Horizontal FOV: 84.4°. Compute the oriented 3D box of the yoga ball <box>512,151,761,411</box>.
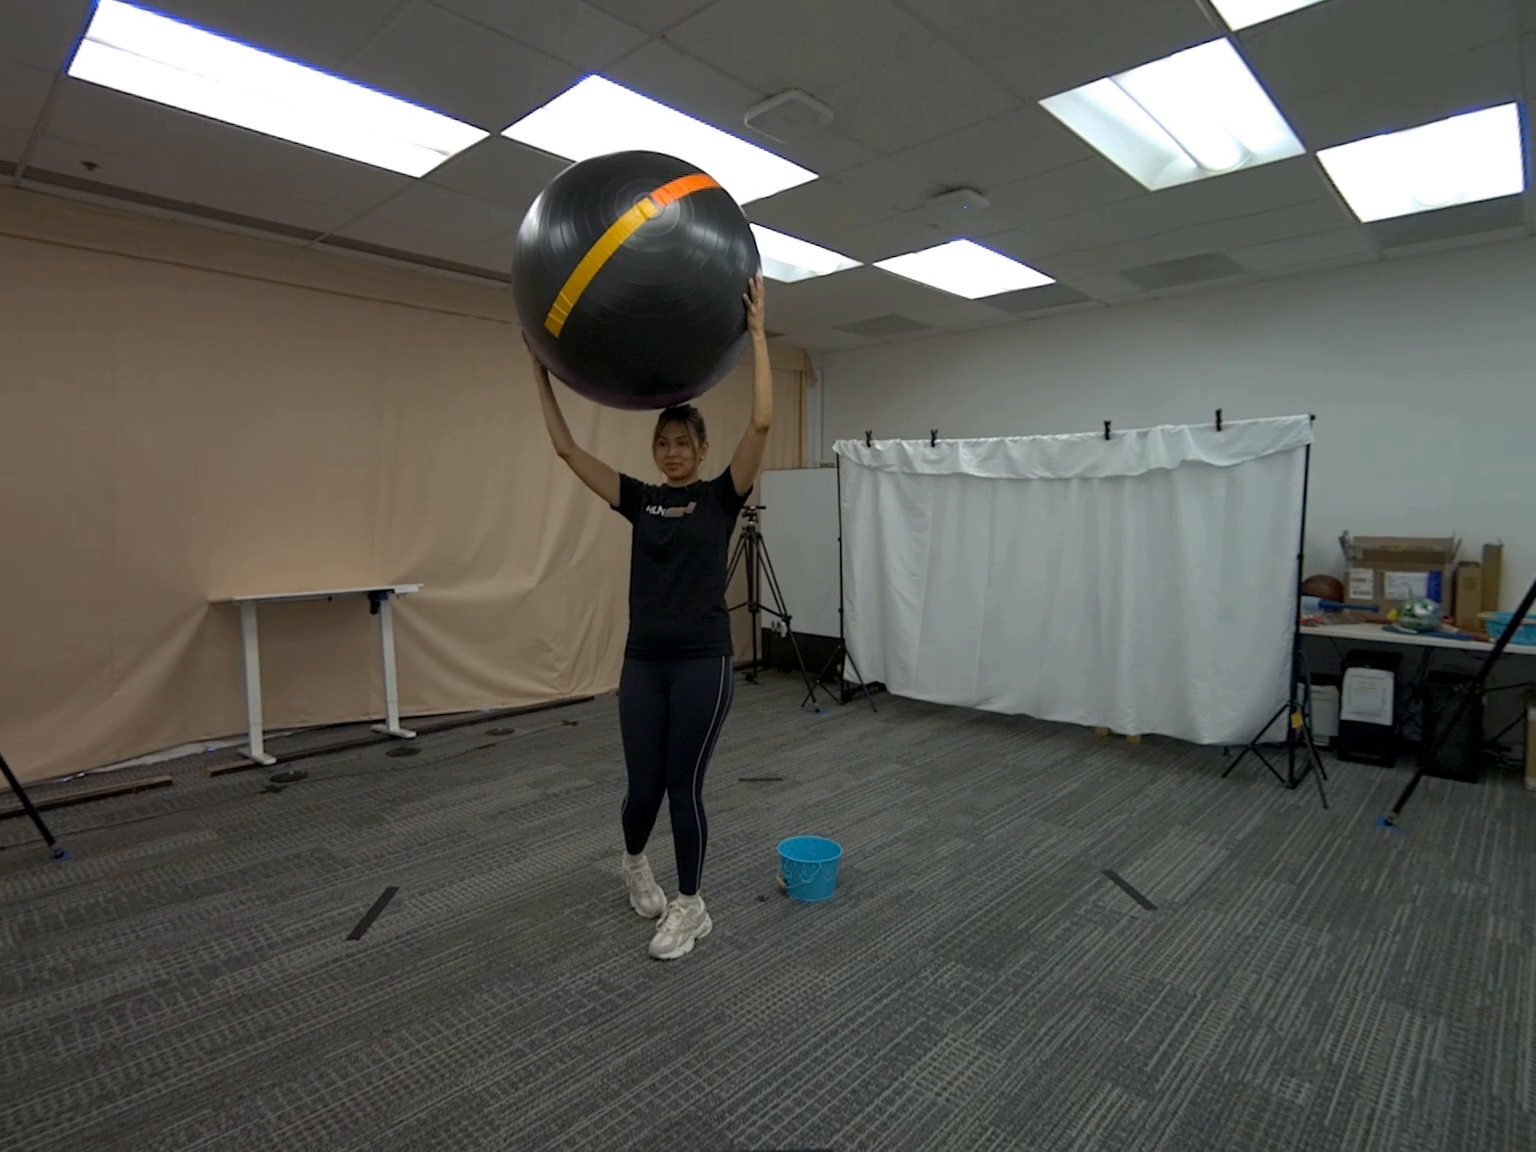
[{"bbox_3d":[-0.389,-0.881,2.559,0.757,0.756,0.760,0,4,-2],"label":"yoga ball"}]
